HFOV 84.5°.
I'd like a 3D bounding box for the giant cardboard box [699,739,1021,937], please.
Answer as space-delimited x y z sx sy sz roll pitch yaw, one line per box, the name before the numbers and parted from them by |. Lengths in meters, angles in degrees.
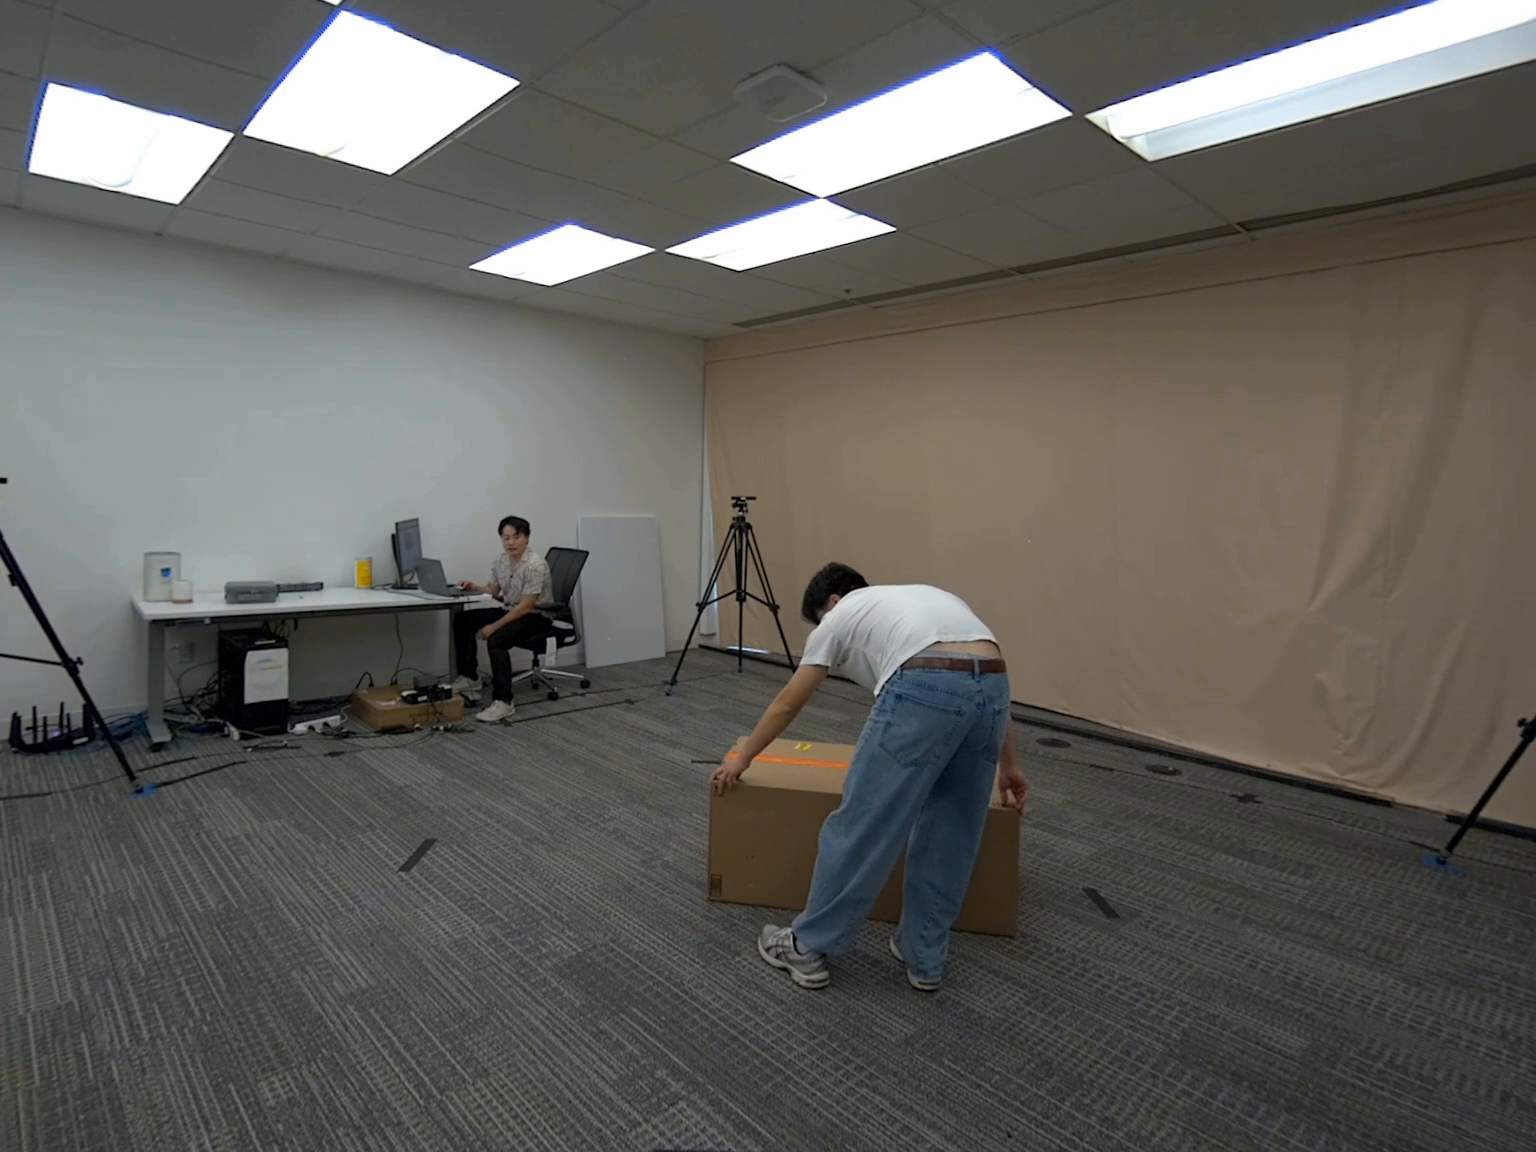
giant cardboard box | 0.334 0.905 3.070 1.035 0.425 0.574 2 4 11
